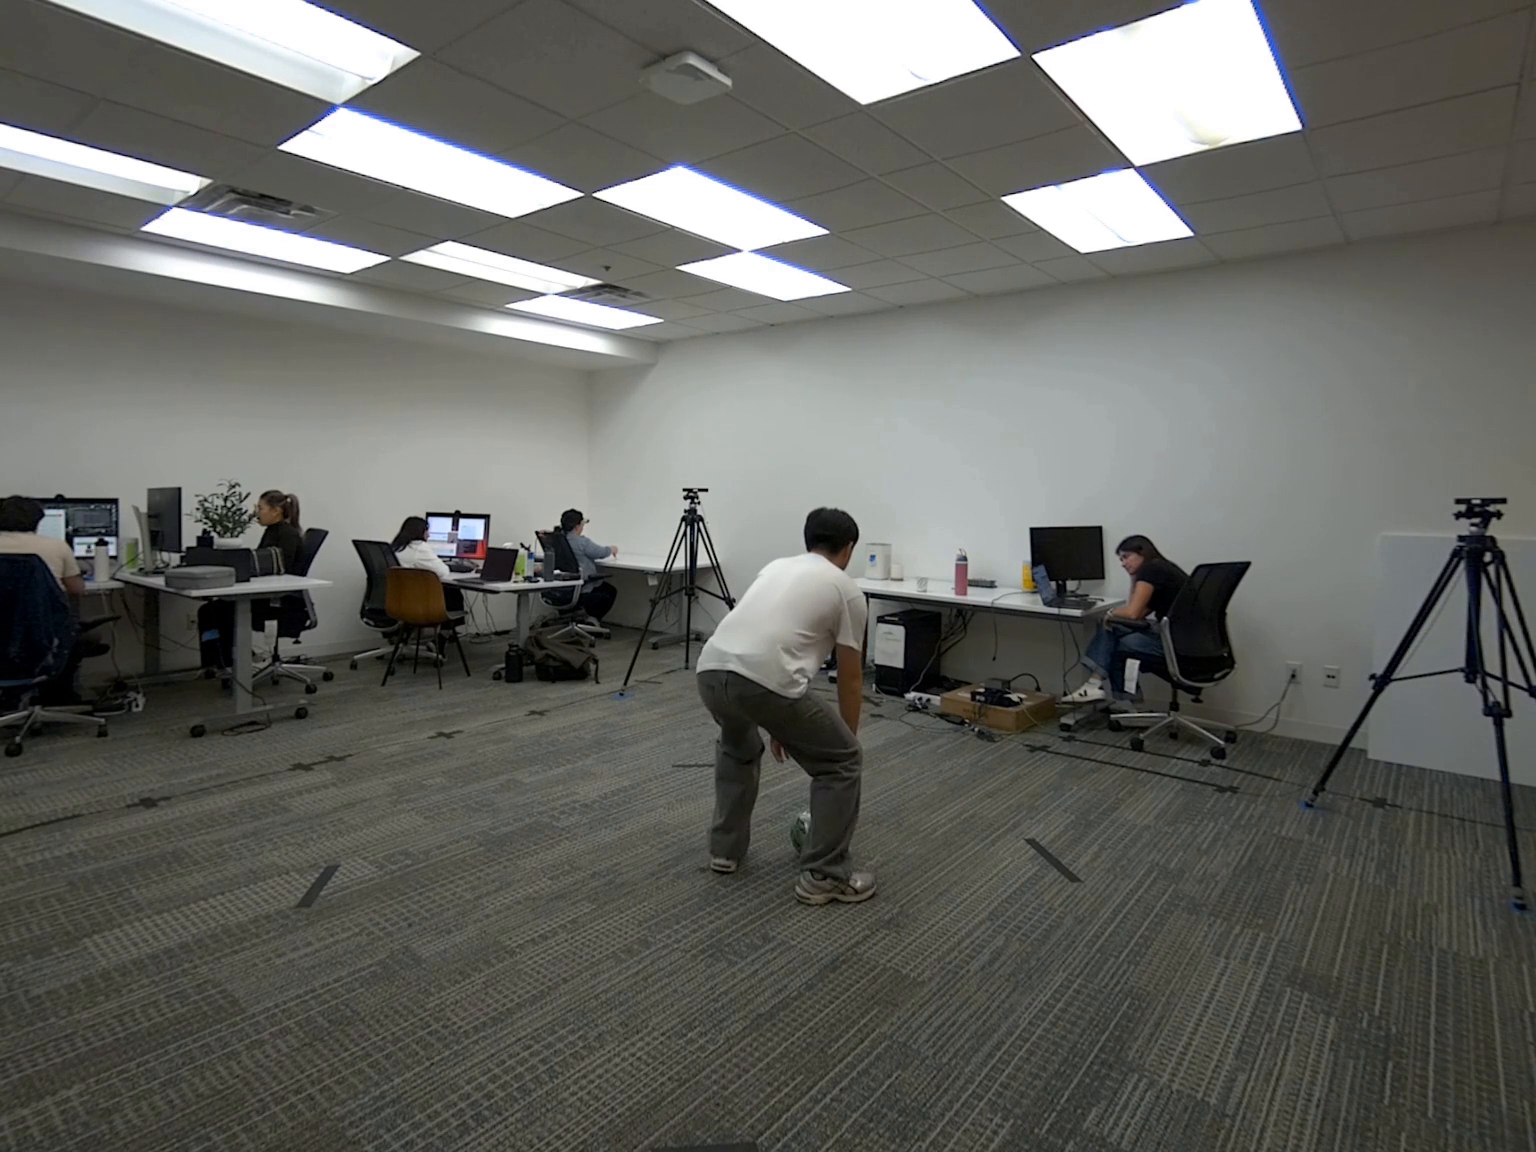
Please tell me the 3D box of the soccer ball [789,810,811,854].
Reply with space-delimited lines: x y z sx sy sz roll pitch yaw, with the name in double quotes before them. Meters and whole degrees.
"soccer ball" 0.188 0.961 3.219 0.187 0.187 0.188 1 4 -2
